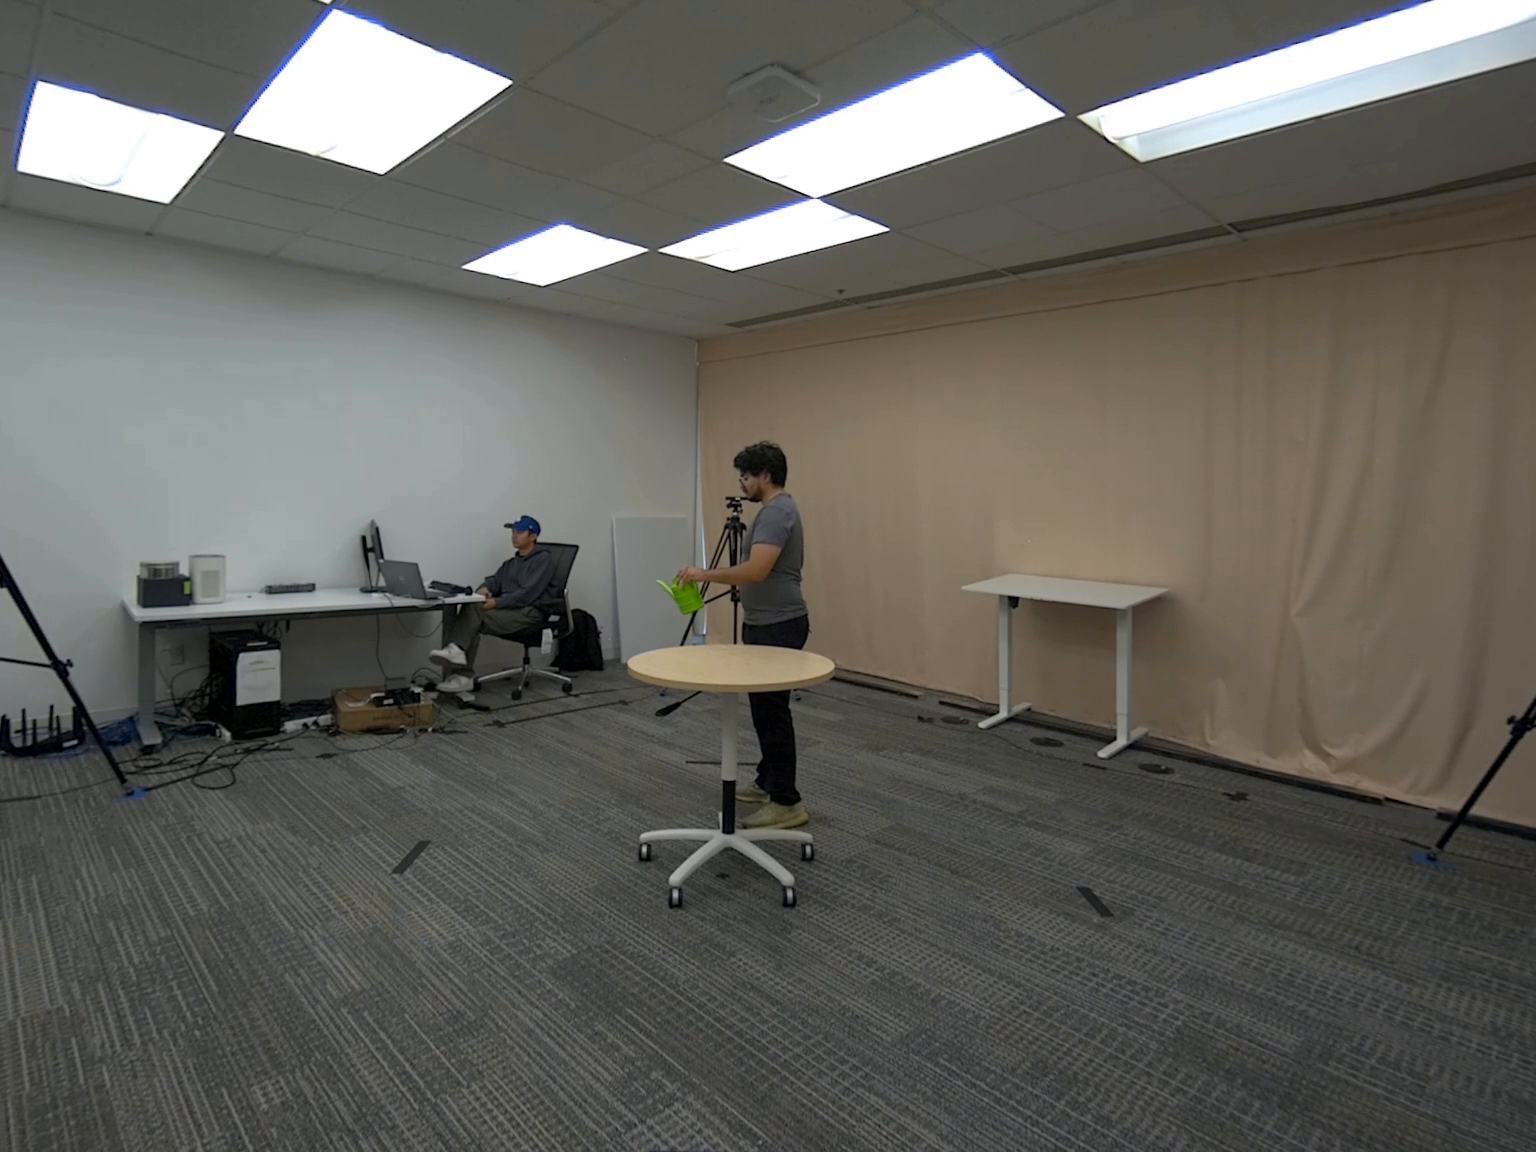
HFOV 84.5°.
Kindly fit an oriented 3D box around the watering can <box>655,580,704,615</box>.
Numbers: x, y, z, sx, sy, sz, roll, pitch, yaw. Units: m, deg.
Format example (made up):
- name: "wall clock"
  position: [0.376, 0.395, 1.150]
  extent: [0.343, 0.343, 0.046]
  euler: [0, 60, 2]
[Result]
- name: "watering can"
  position: [-0.391, 0.076, 3.739]
  extent: [0.097, 0.176, 0.283]
  euler: [-20, 5, -32]
